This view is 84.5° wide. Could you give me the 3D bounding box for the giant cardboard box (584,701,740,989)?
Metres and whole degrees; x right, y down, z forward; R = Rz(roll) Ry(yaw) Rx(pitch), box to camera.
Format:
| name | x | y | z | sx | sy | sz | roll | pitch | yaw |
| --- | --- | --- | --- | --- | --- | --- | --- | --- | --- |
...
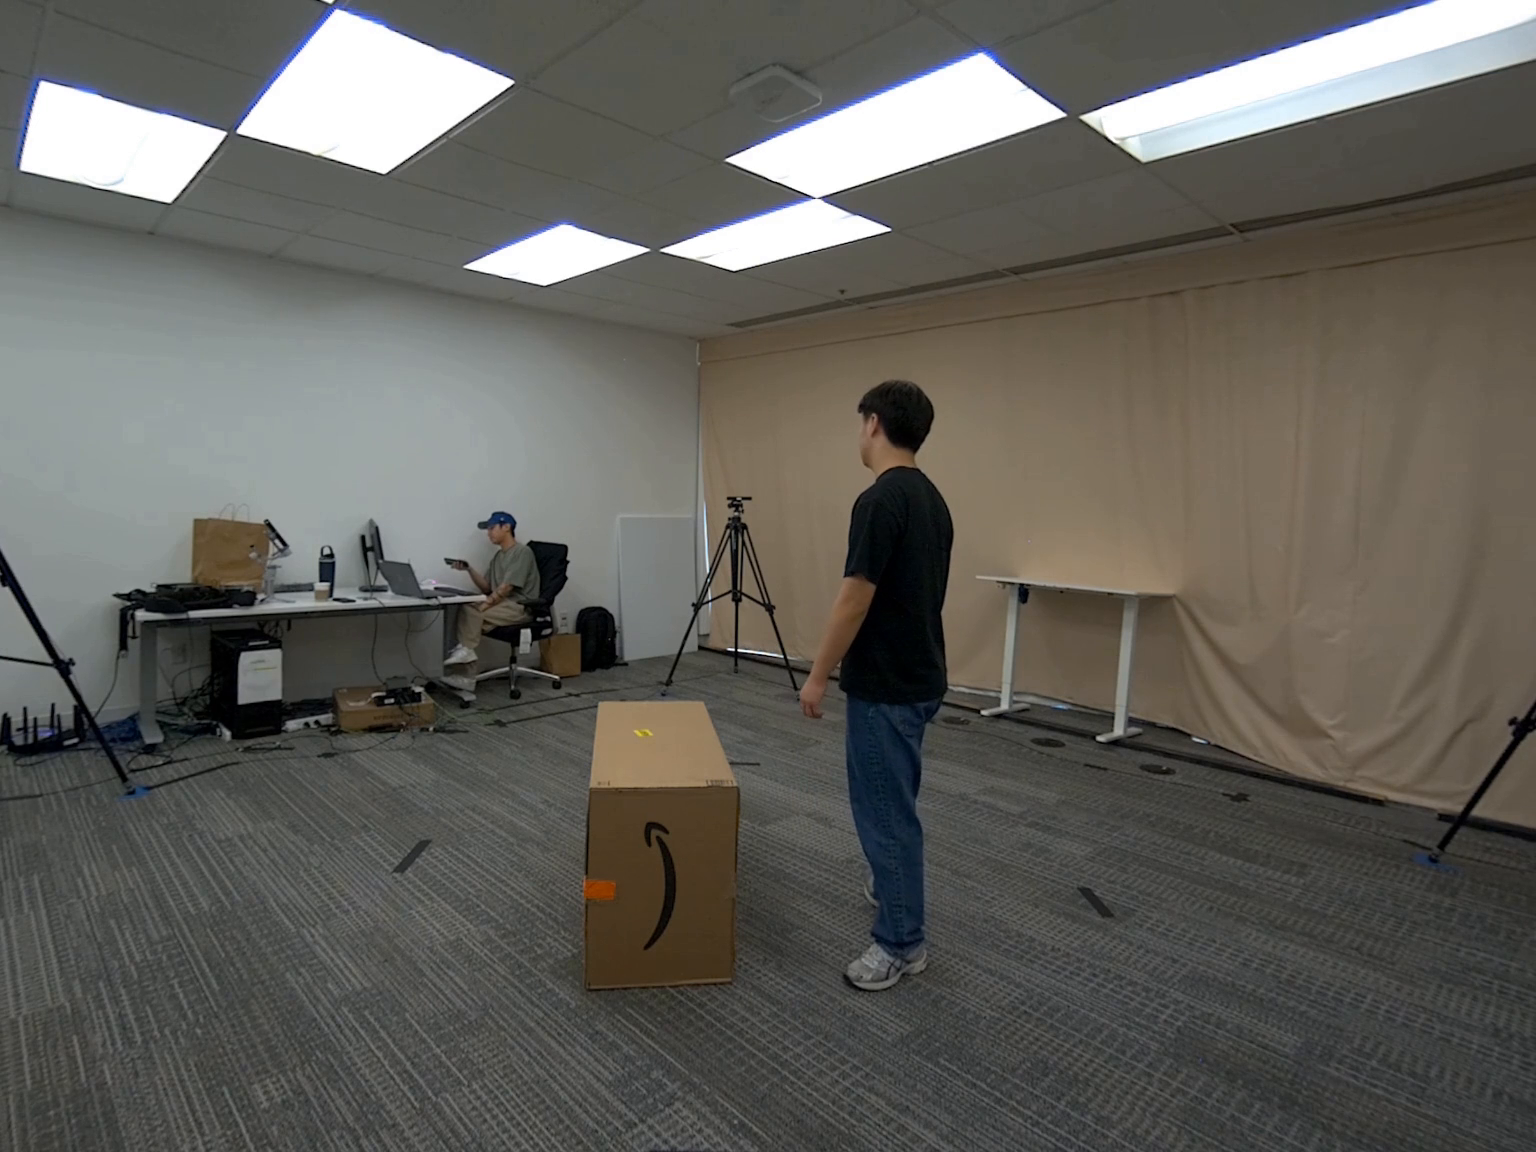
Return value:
| name | x | y | z | sx | sy | sz | roll | pitch | yaw |
| --- | --- | --- | --- | --- | --- | --- | --- | --- | --- |
| giant cardboard box | -0.392 | 0.834 | 2.883 | 0.443 | 0.582 | 1.037 | 0 | 4 | -10 |
